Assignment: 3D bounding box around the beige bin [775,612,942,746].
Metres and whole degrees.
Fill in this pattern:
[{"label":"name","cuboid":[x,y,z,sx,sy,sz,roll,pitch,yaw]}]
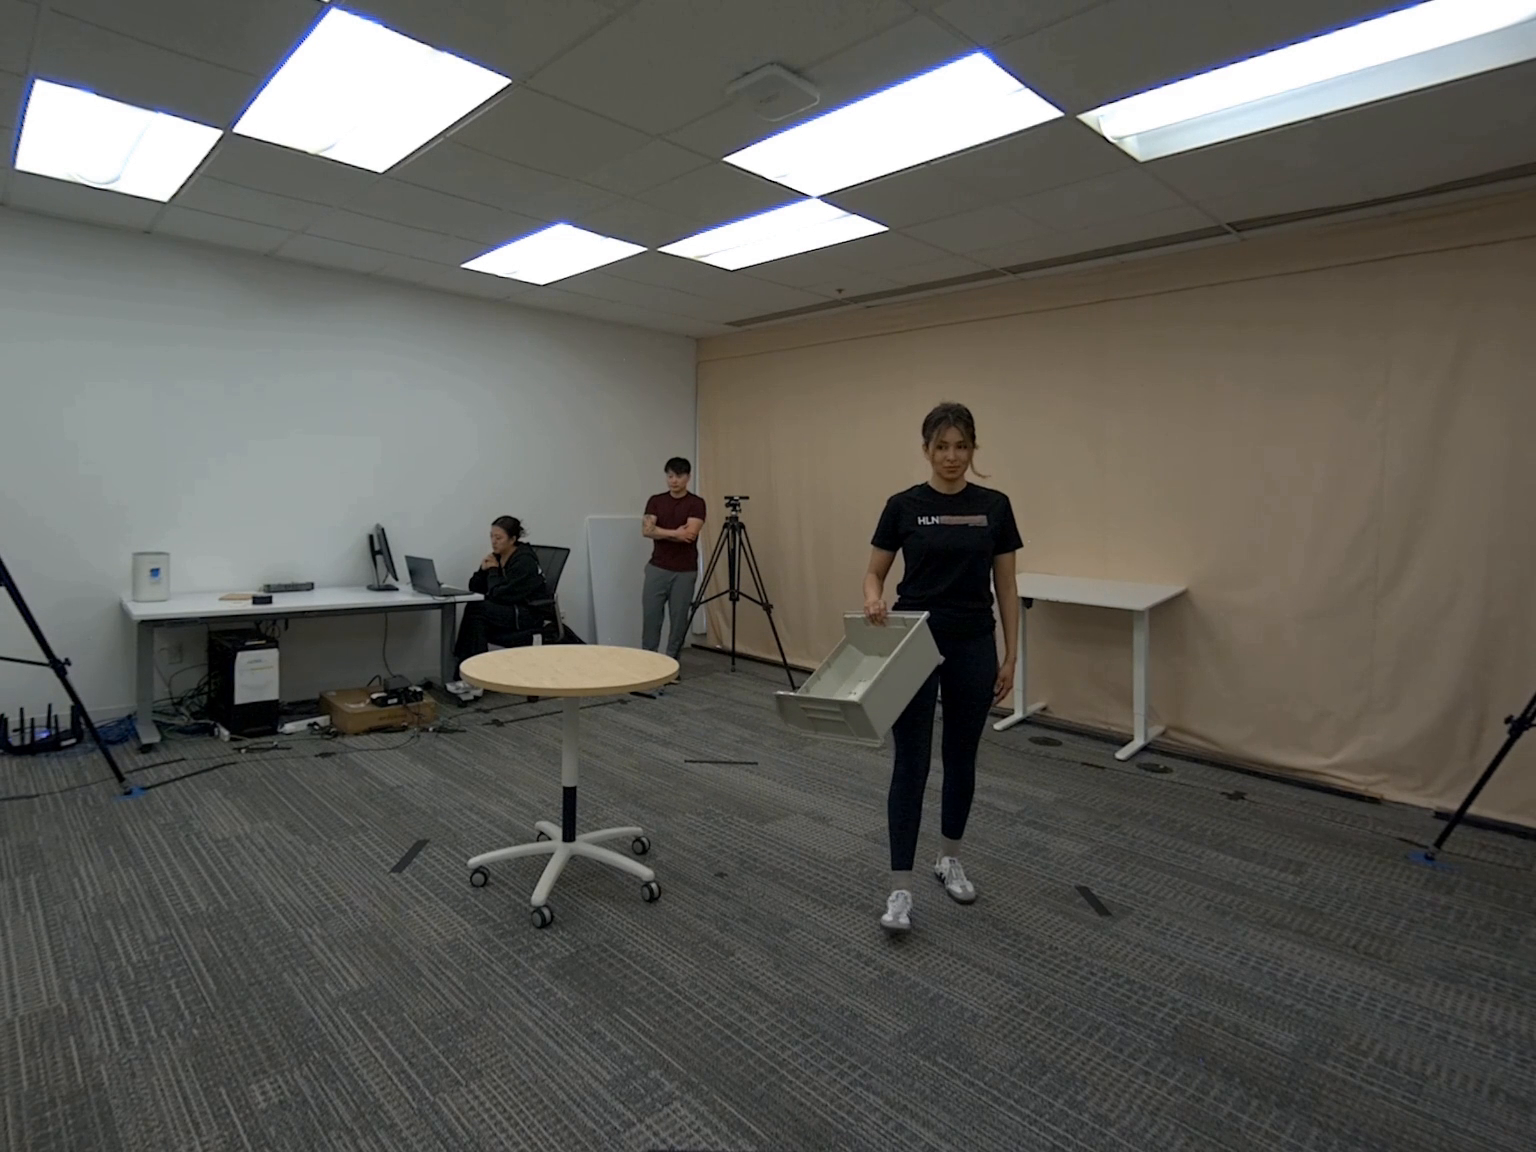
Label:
[{"label":"beige bin","cuboid":[0.274,0.312,2.624,0.386,0.185,0.421,-3,32,47]}]
